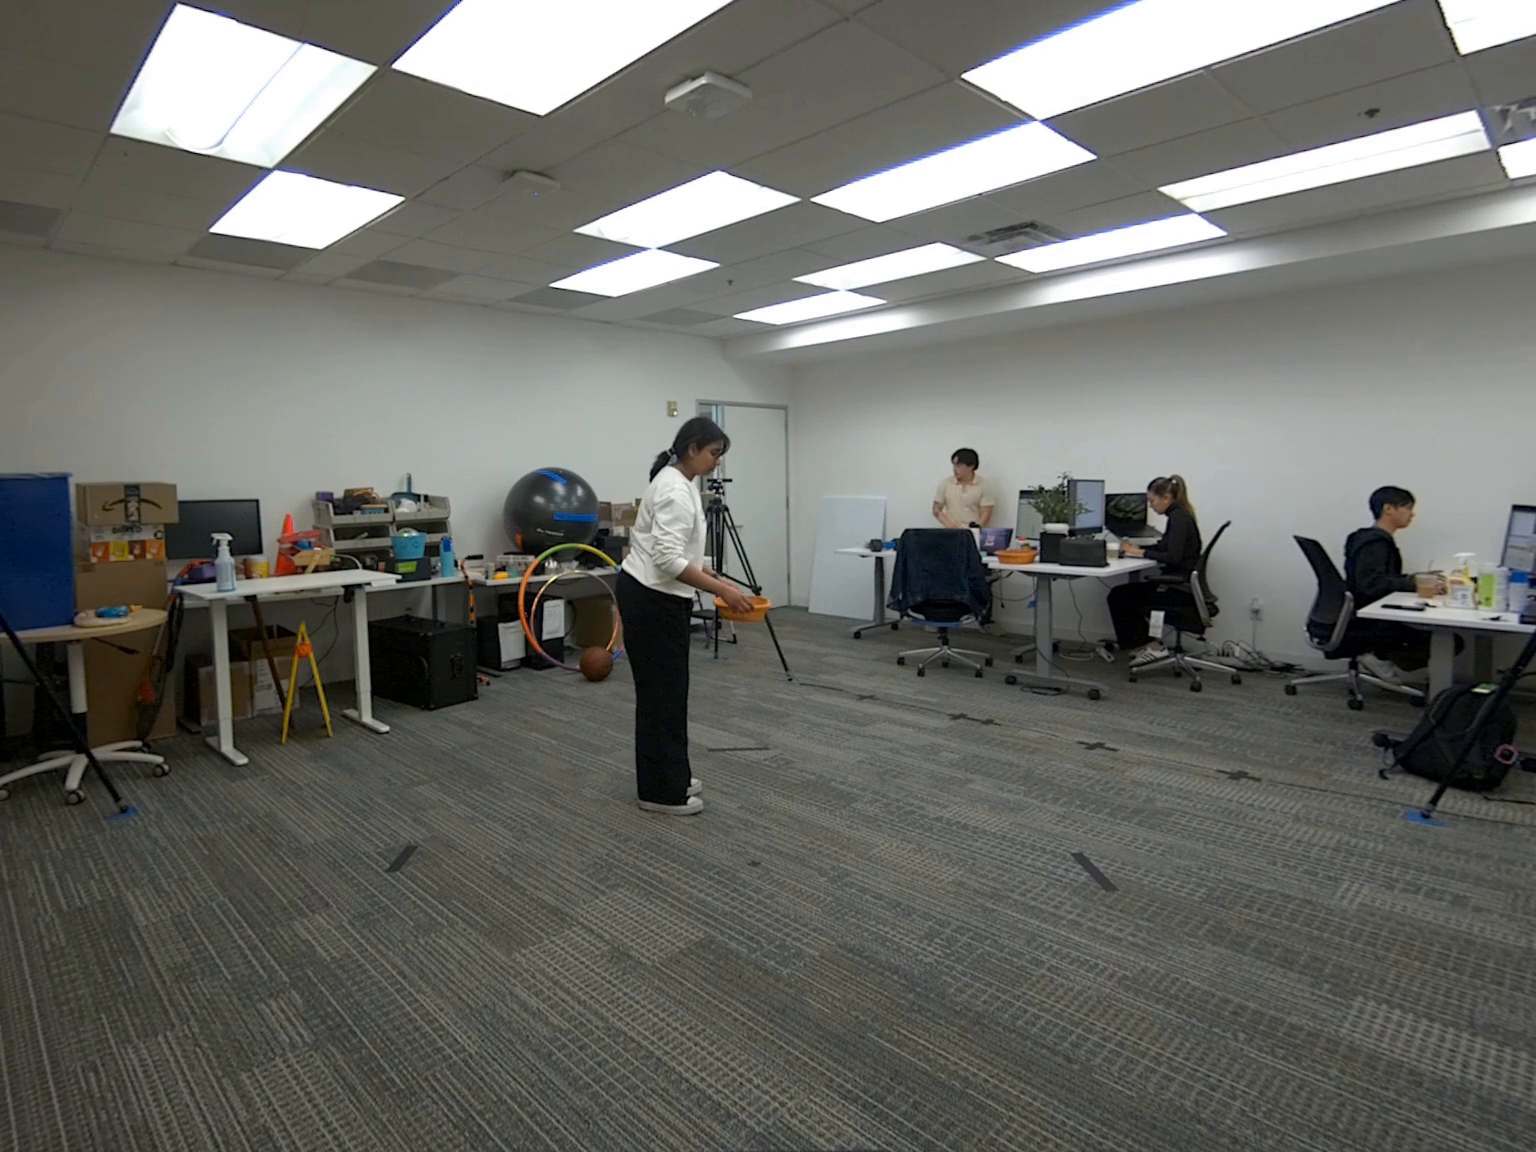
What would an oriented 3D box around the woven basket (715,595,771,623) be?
[{"bbox_3d":[-0.127,0.148,3.723,0.251,0.073,0.354,0,6,-7],"label":"woven basket"}]
